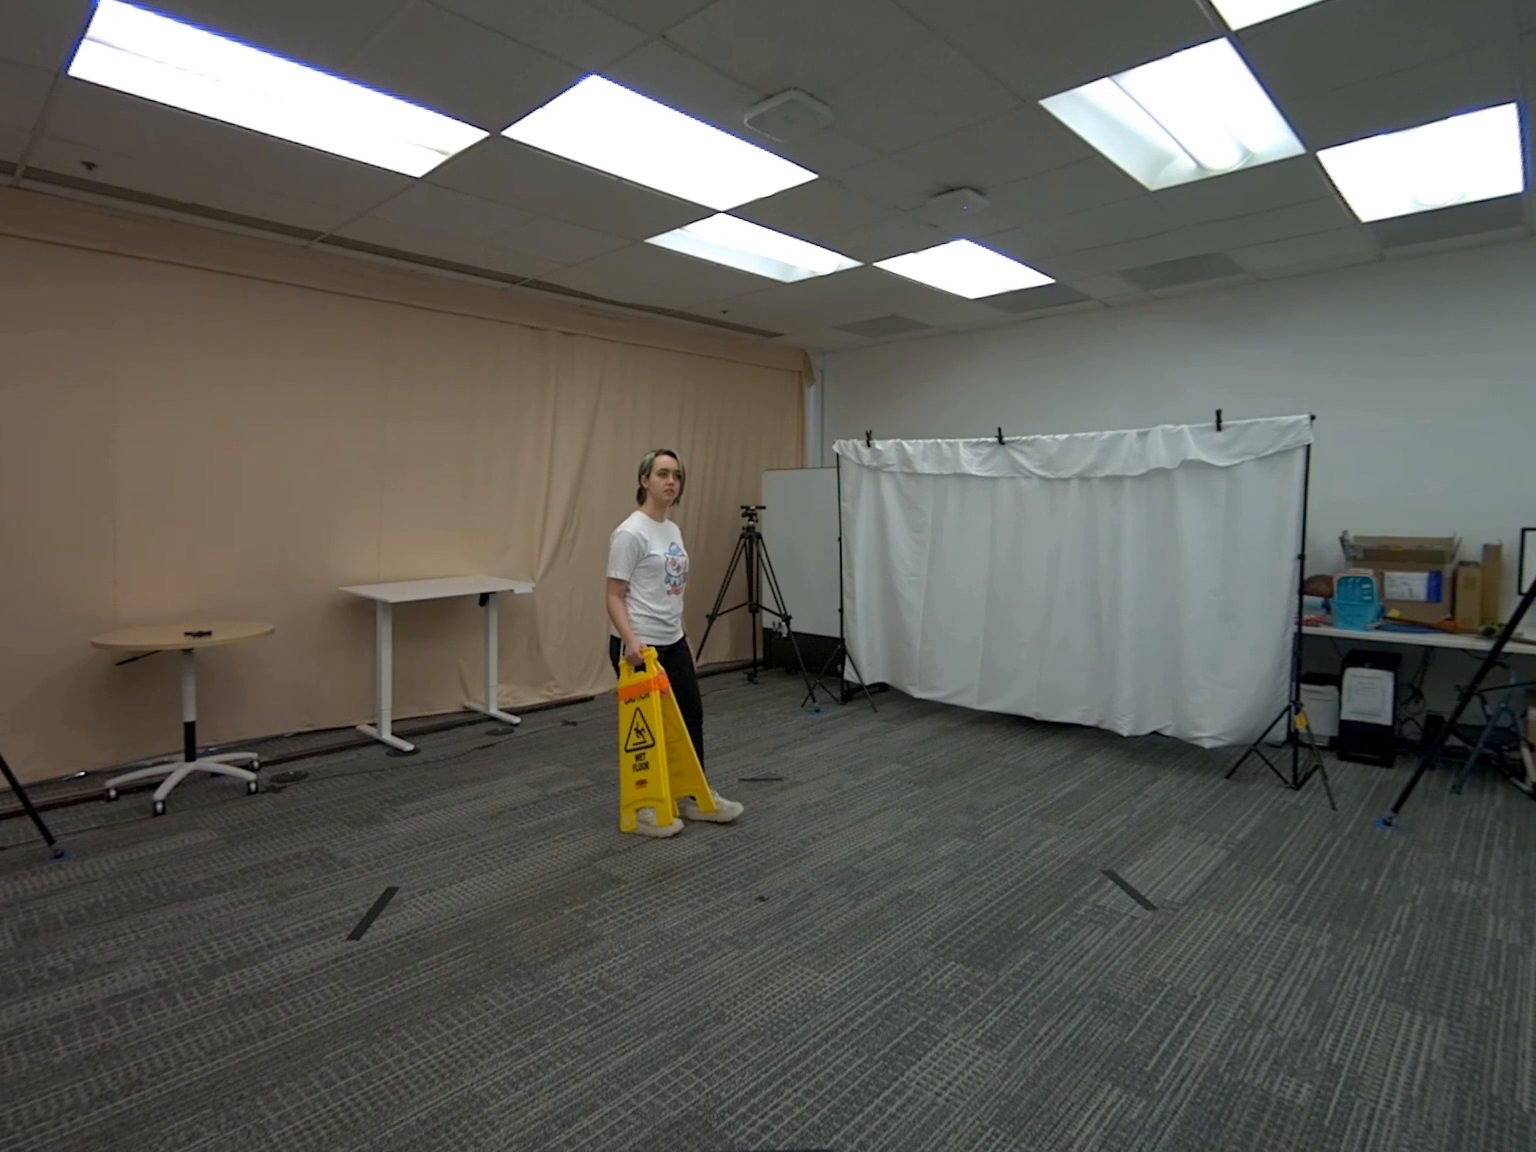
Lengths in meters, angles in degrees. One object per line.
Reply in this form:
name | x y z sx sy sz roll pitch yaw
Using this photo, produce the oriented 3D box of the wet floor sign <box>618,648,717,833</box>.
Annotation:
wet floor sign | -0.437 0.607 3.230 0.288 0.653 0.280 -22 -15 37
